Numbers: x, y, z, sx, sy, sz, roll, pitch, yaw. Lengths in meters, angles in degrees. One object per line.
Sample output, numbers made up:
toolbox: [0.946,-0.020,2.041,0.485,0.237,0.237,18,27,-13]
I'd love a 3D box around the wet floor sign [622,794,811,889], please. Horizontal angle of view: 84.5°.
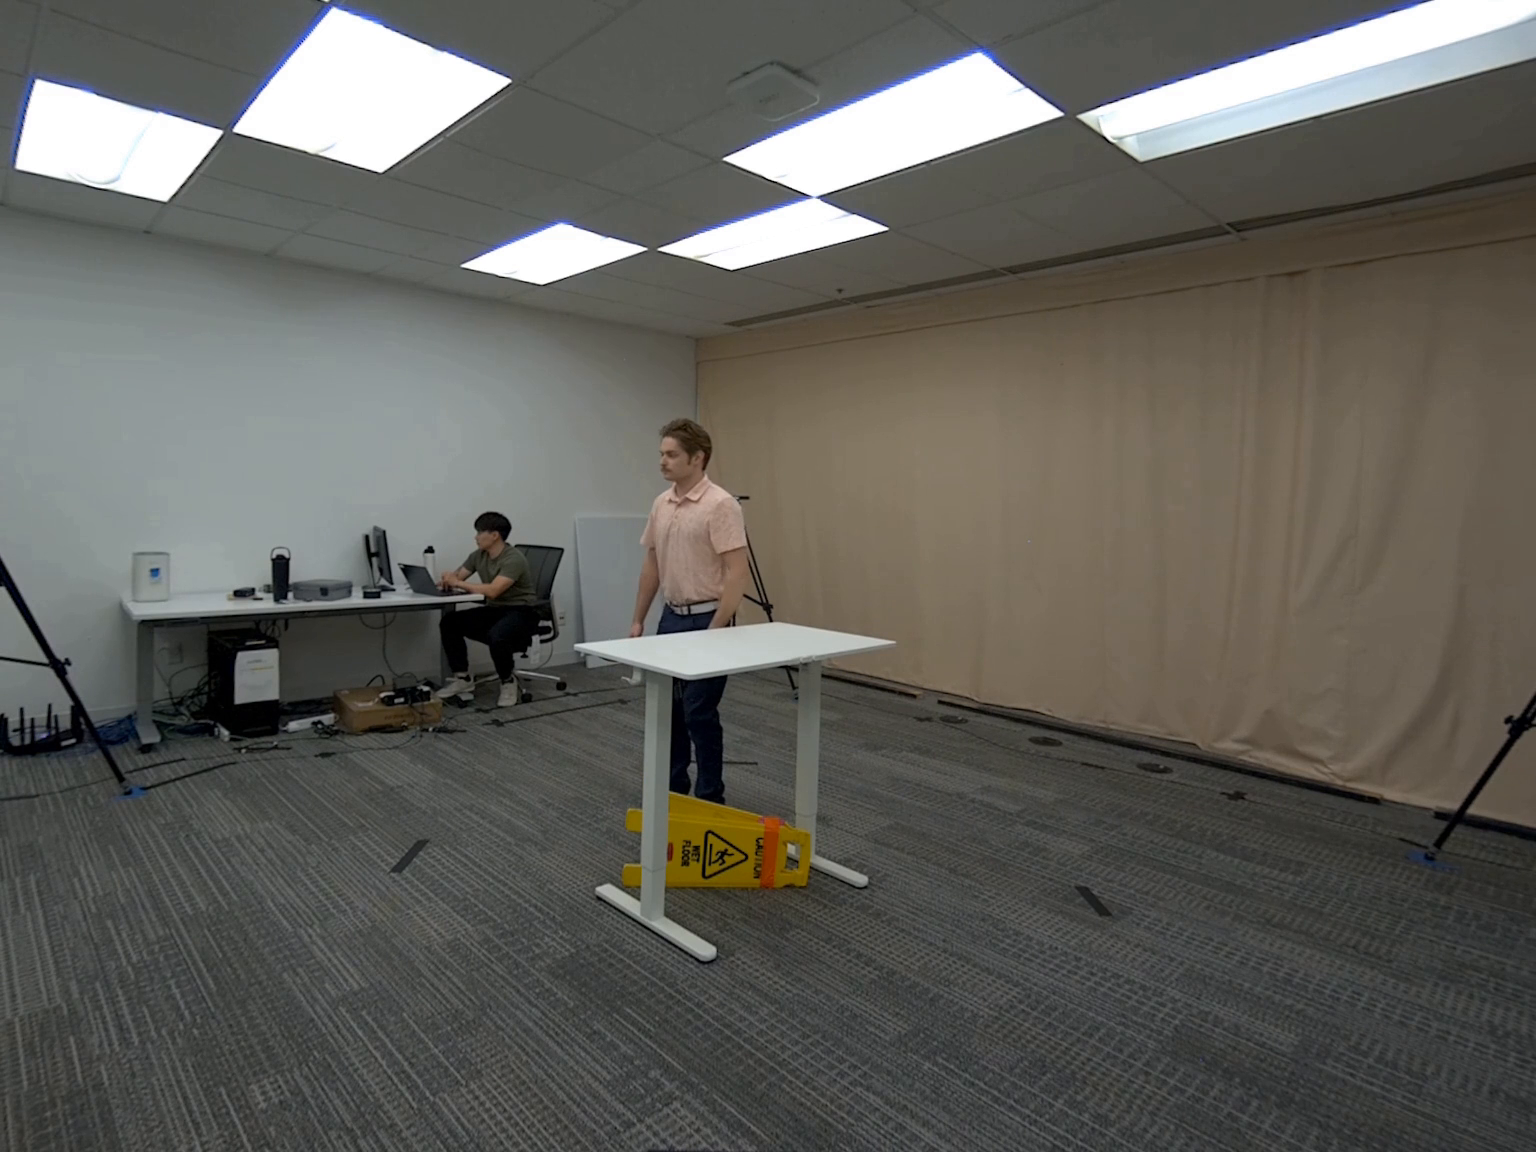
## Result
wet floor sign: [-0.177,0.979,3.059,0.651,0.281,0.288,6,4,9]
